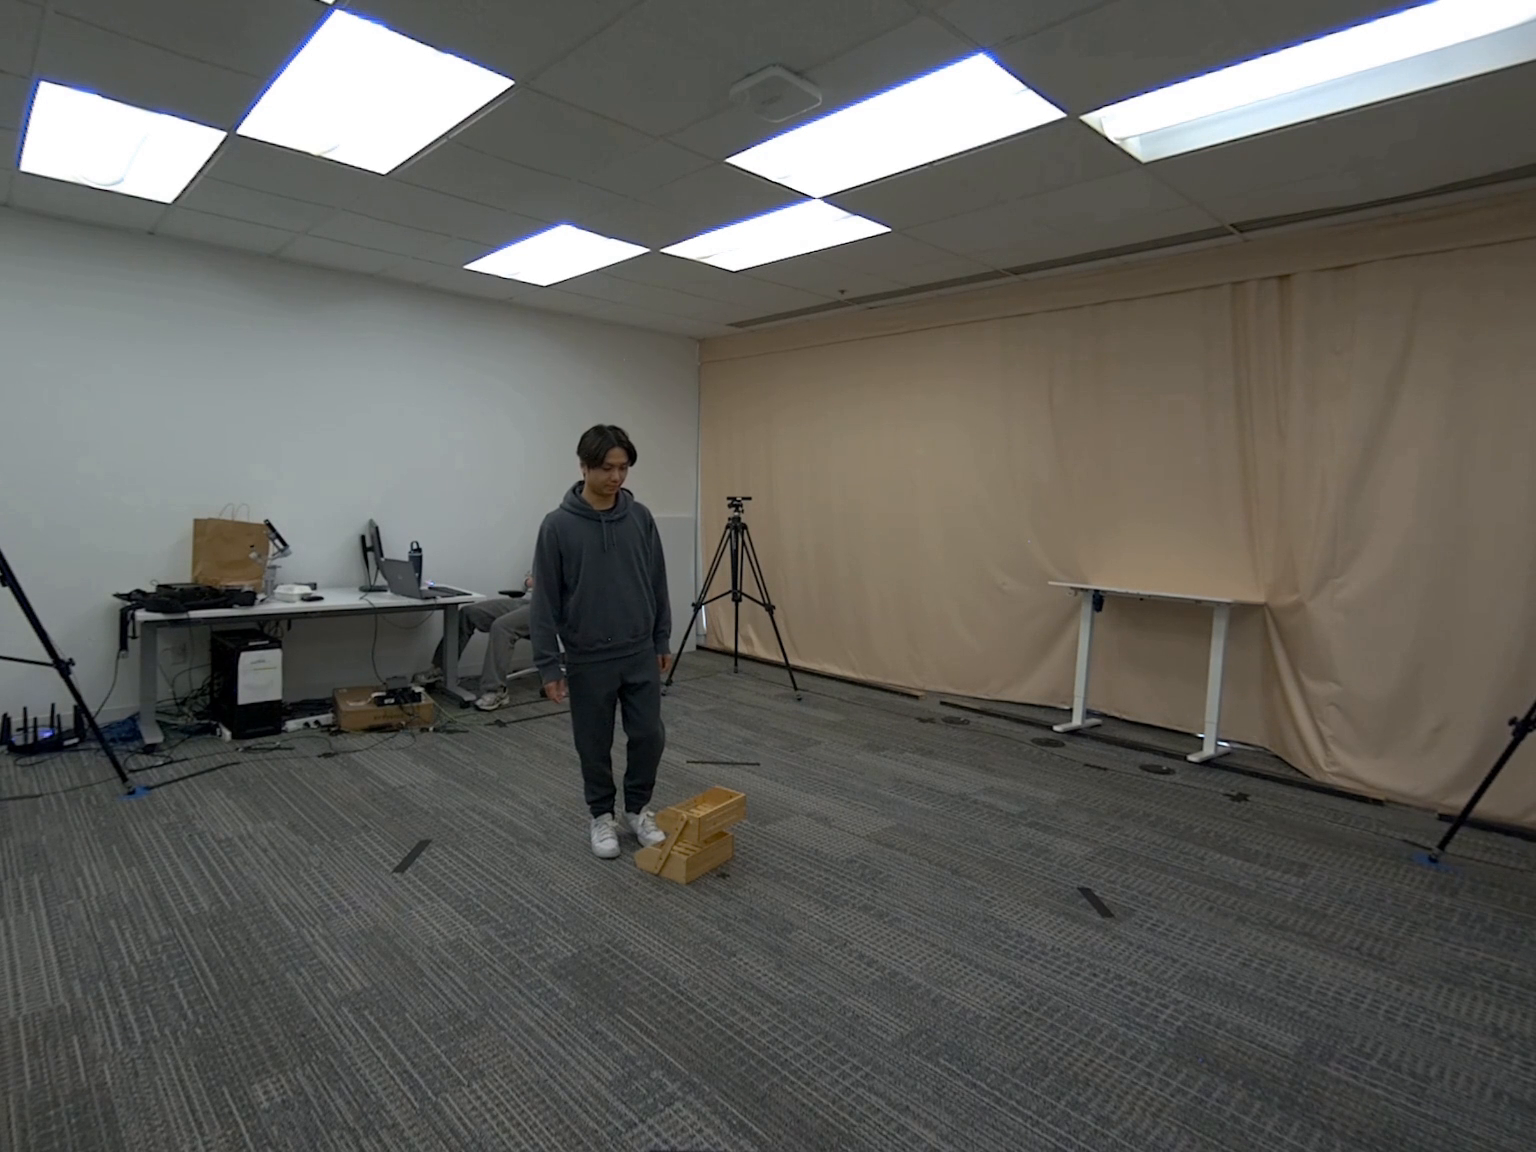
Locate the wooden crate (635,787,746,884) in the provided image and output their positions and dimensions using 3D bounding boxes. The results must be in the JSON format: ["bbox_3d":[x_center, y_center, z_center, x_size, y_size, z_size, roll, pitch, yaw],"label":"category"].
[{"bbox_3d":[-0.303,0.962,3.195,0.309,0.272,0.318,4,5,34],"label":"wooden crate"}]
